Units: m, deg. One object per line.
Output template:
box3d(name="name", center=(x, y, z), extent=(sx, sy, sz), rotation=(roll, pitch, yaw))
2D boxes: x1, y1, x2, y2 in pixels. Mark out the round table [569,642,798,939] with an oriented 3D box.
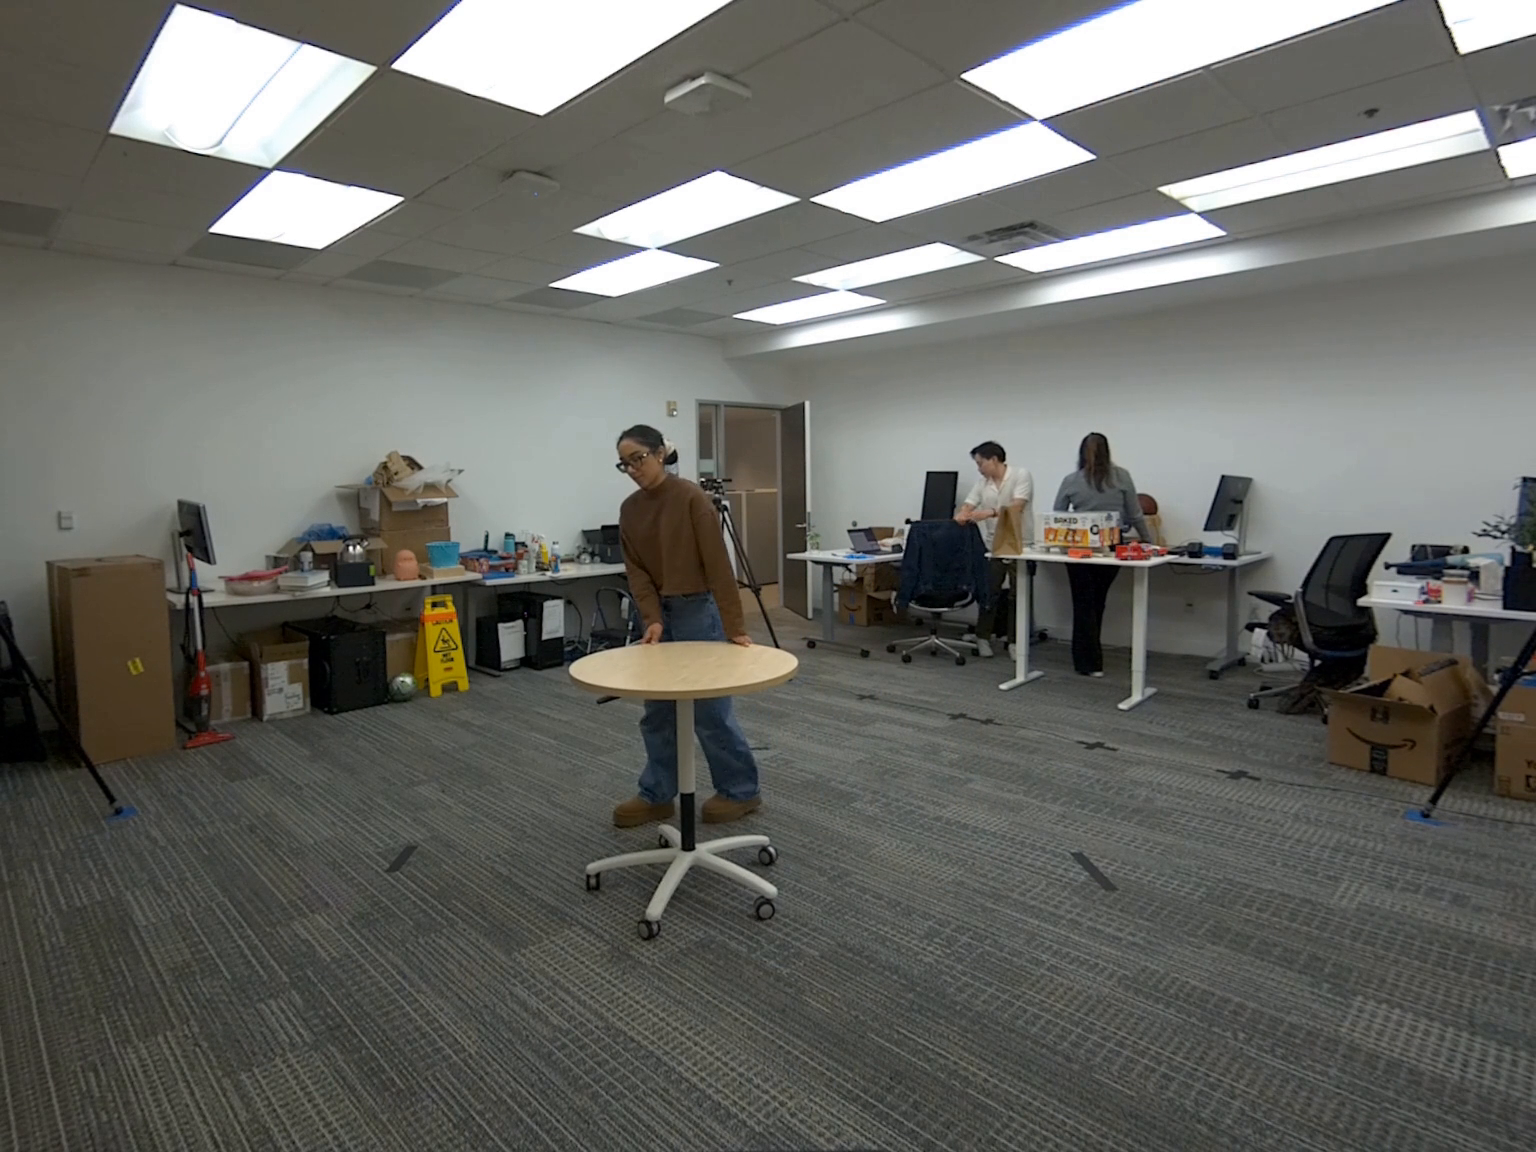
box3d(name="round table", center=(-0.288, 0.681, 2.902), extent=(0.784, 0.784, 0.789), rotation=(-1, 5, -2))
